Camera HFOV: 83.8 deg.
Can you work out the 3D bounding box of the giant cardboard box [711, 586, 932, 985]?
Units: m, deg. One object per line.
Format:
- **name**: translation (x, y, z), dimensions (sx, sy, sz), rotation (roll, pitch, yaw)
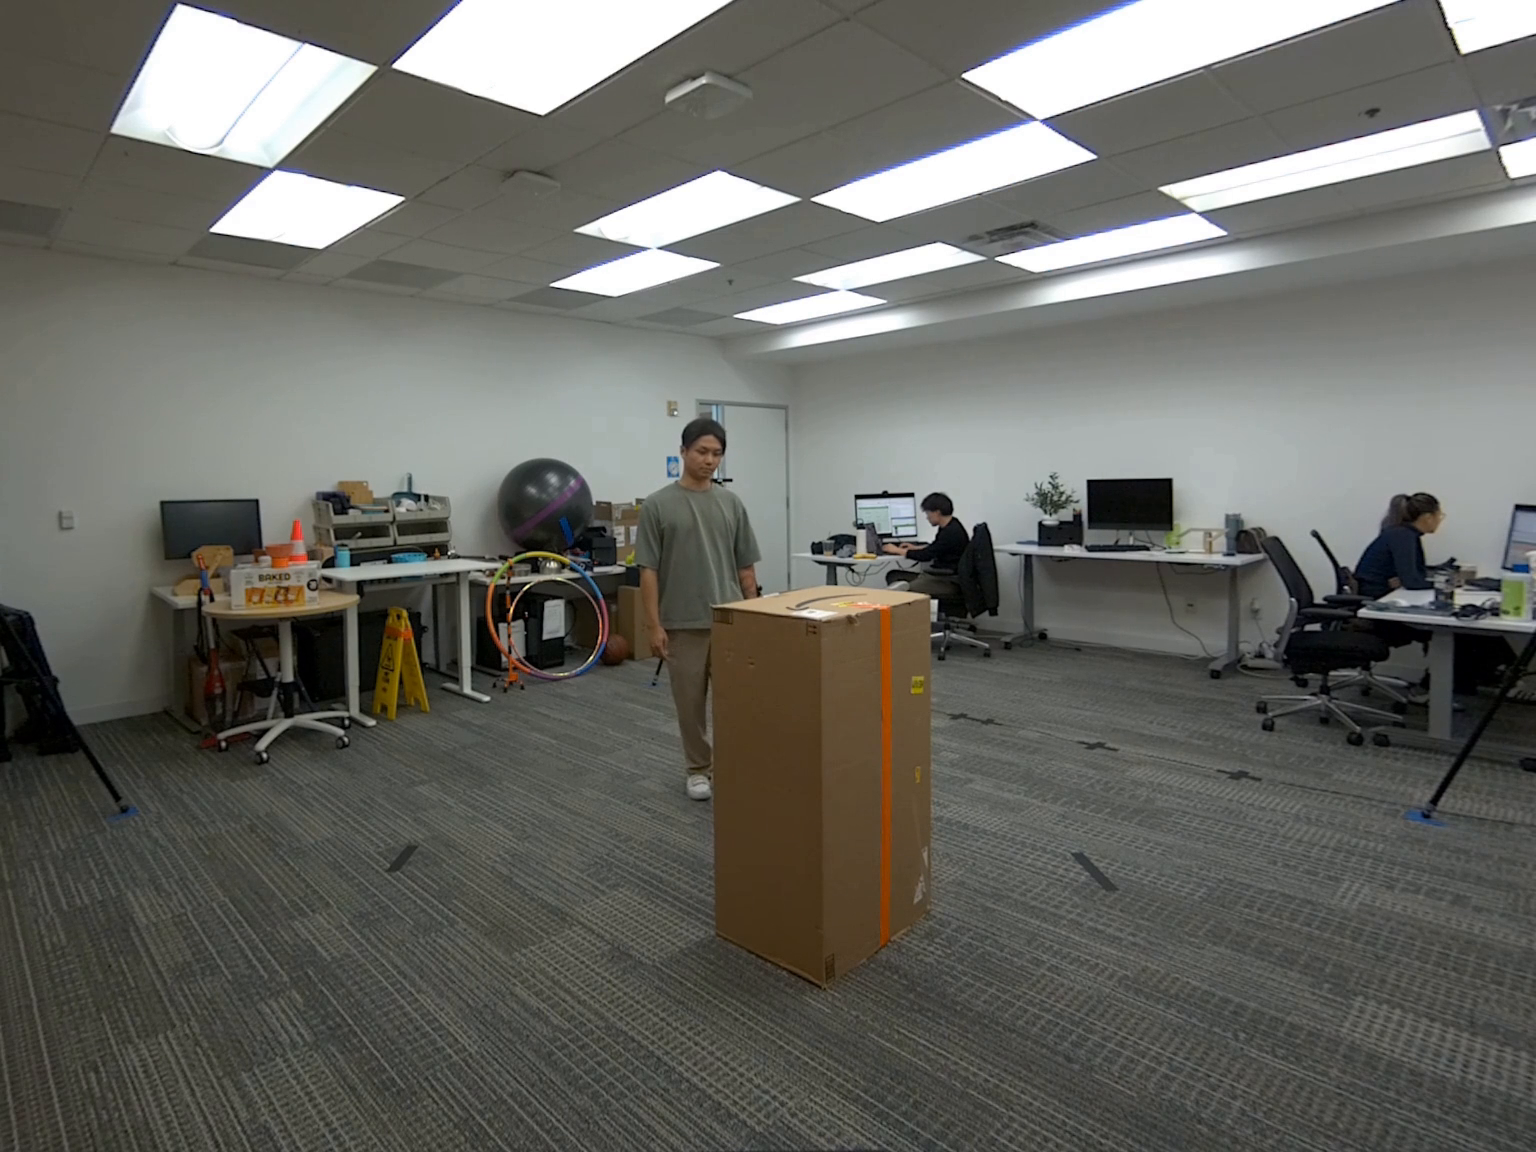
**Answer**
- **giant cardboard box**: translation (0.182, 0.585, 2.650), dimensions (0.439, 1.022, 0.562), rotation (3, 5, 42)
